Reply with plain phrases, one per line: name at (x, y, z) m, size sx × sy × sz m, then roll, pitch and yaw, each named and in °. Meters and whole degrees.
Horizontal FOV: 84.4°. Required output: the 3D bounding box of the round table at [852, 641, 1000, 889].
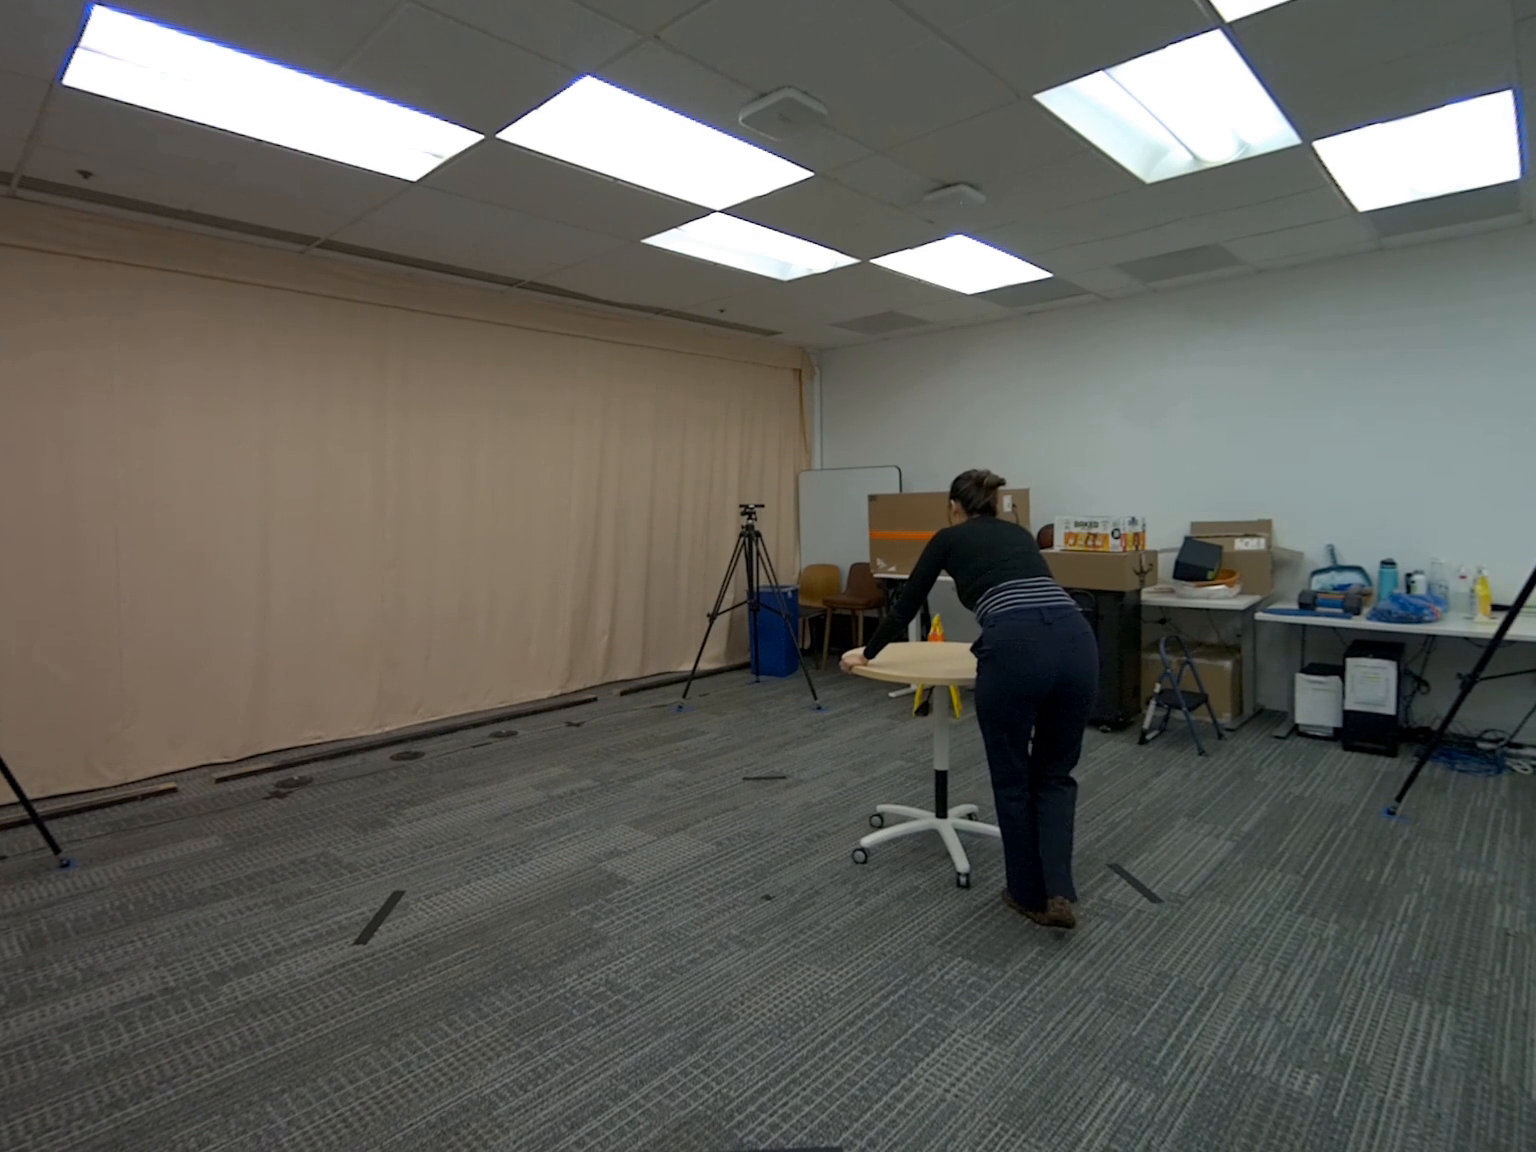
round table at (0.678, 0.713, 3.334) m, size 0.763 × 0.792 × 0.766 m, roll -1°, pitch 4°, yaw -2°
